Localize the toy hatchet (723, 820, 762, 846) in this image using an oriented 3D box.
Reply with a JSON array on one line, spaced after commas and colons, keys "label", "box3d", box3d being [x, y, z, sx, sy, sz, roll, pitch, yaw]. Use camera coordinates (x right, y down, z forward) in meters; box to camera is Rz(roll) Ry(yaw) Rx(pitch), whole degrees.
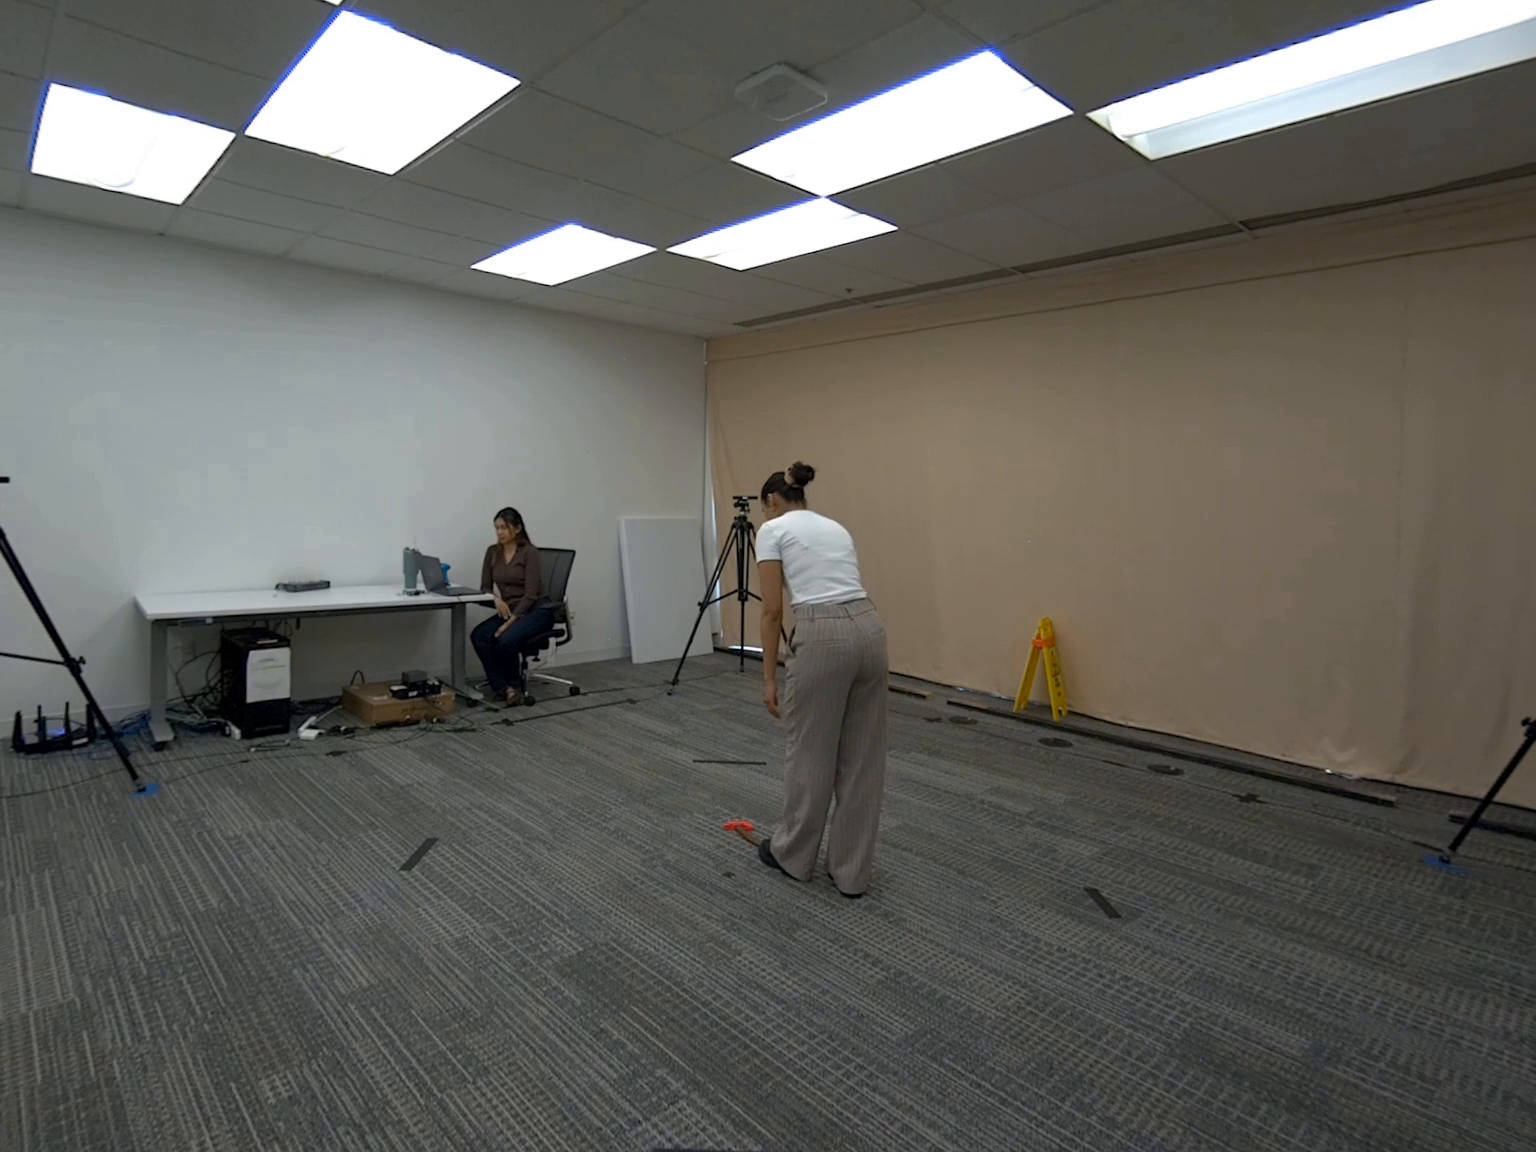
[{"label": "toy hatchet", "box3d": [-0.070, 1.061, 3.467, 0.128, 0.029, 0.277, -1, 7, -41]}]
